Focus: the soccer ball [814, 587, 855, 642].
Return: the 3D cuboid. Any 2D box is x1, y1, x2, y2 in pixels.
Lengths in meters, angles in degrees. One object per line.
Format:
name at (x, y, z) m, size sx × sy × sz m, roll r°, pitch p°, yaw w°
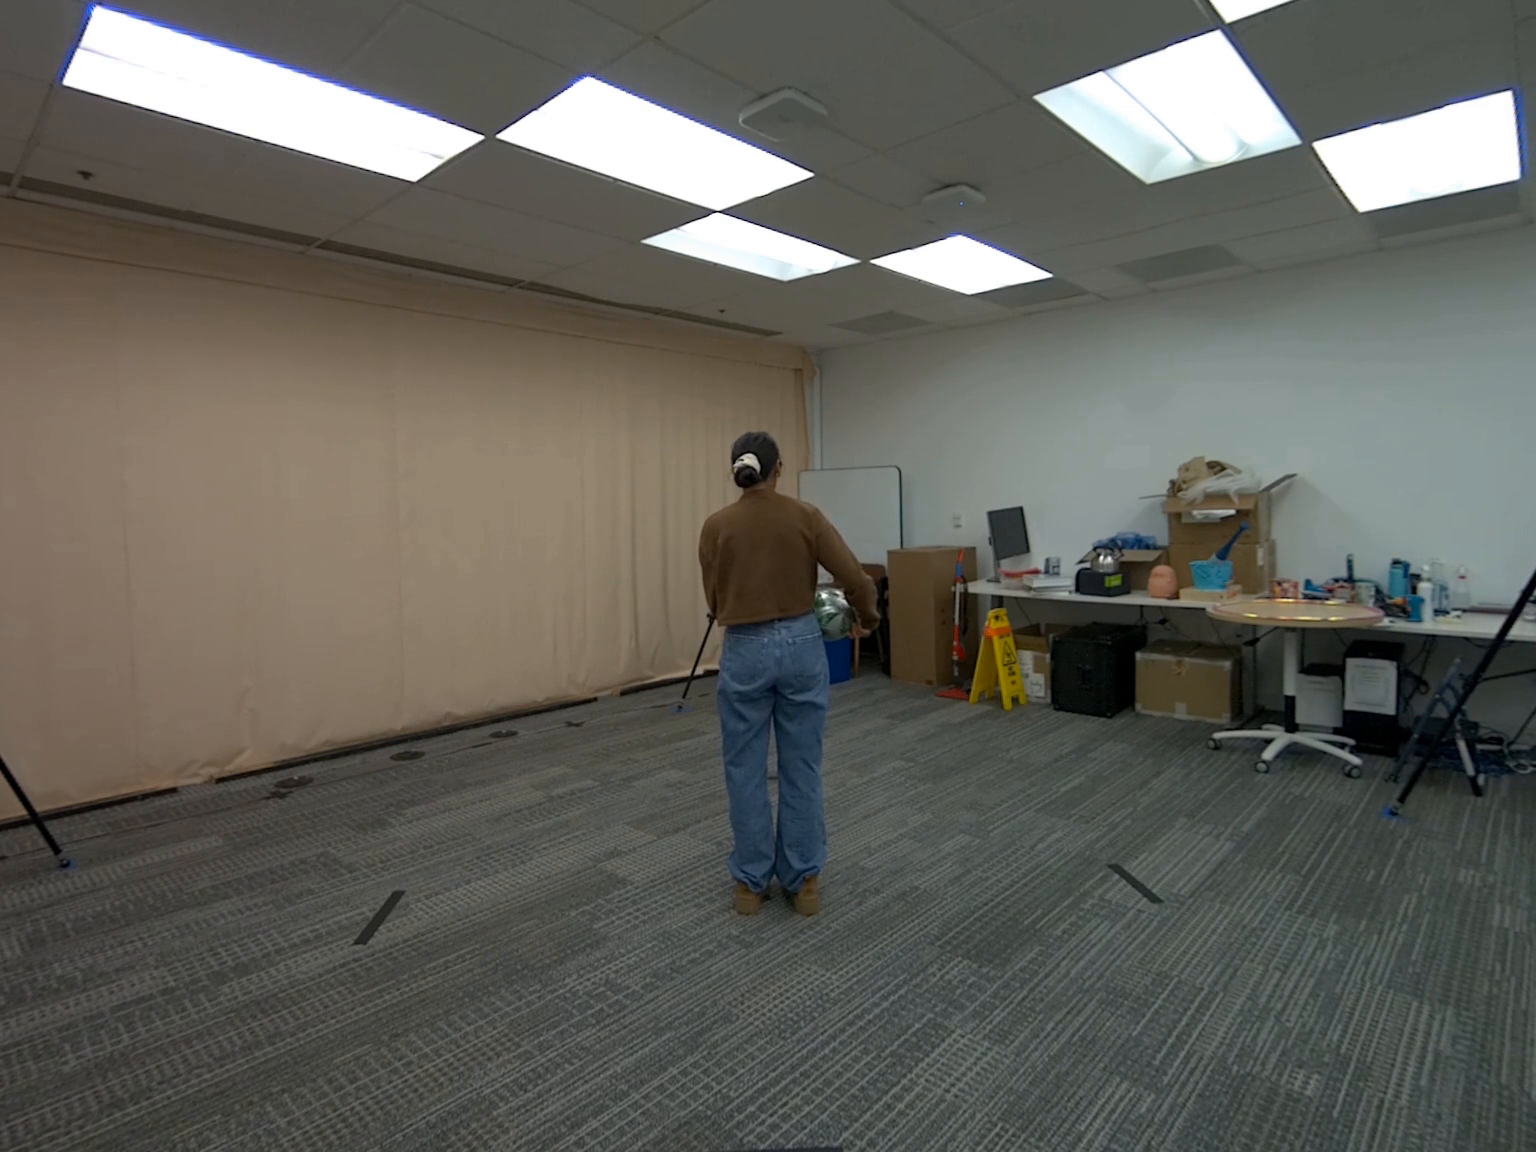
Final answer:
soccer ball at (0.225, 0.143, 3.036) m, size 0.187 × 0.187 × 0.188 m, roll -1°, pitch 4°, yaw -2°
